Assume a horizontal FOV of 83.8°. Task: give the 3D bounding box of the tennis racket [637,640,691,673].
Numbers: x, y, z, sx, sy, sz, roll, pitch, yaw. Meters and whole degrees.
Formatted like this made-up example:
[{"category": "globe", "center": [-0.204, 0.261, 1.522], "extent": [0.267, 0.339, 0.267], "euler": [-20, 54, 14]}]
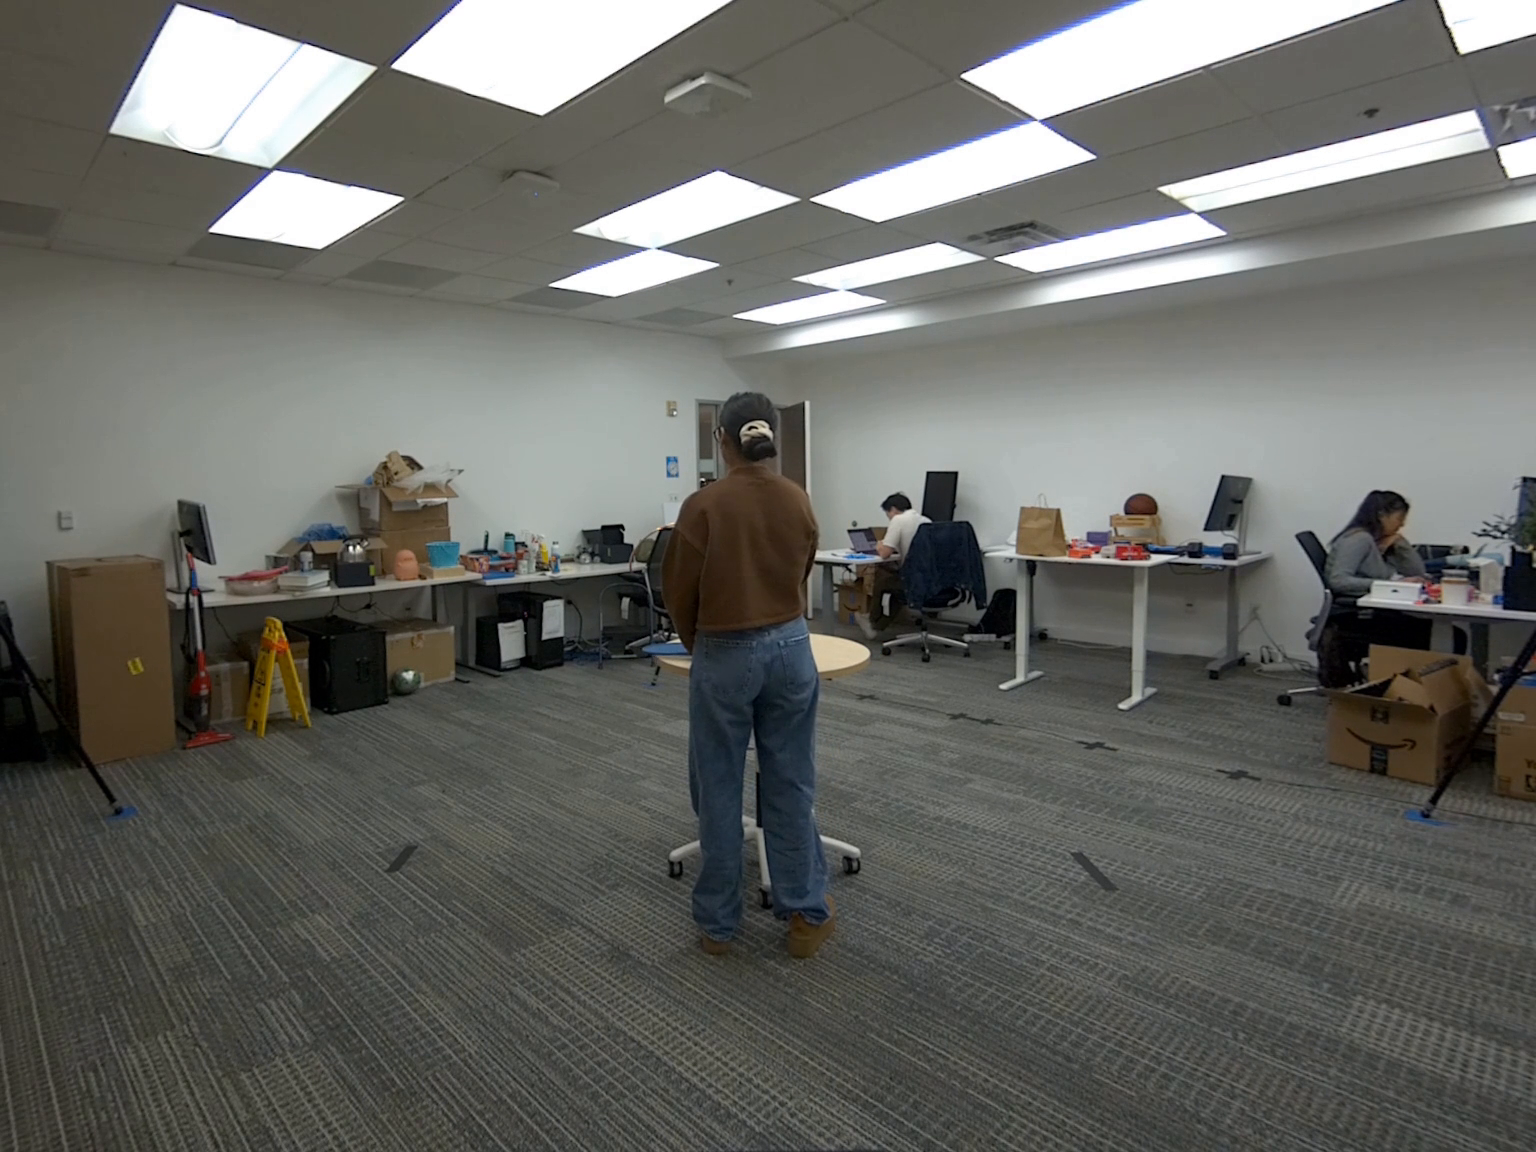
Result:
[{"category": "tennis racket", "center": [-0.285, 0.269, 2.944], "extent": [0.209, 0.031, 0.443], "euler": [-4, 5, -24]}]
